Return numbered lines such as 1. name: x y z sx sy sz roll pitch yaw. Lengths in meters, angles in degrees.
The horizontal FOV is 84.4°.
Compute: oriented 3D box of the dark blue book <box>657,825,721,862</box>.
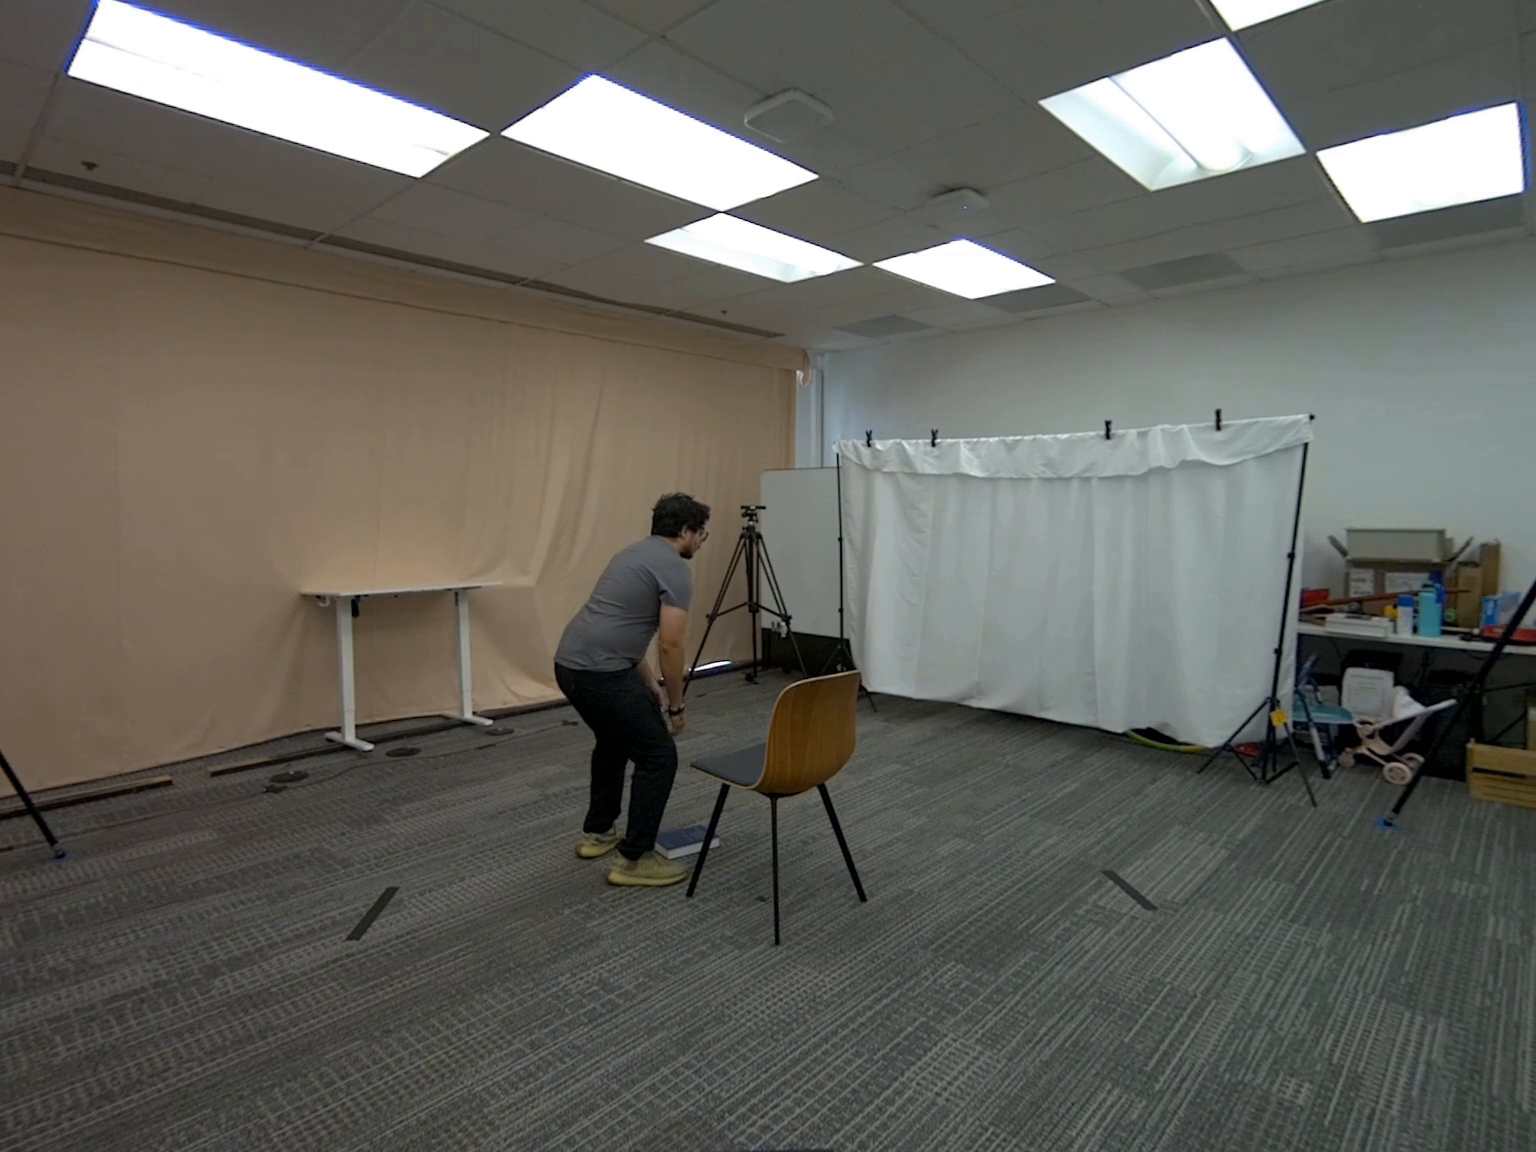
1. dark blue book: -0.341 1.082 3.432 0.238 0.045 0.168 -4 6 -34
